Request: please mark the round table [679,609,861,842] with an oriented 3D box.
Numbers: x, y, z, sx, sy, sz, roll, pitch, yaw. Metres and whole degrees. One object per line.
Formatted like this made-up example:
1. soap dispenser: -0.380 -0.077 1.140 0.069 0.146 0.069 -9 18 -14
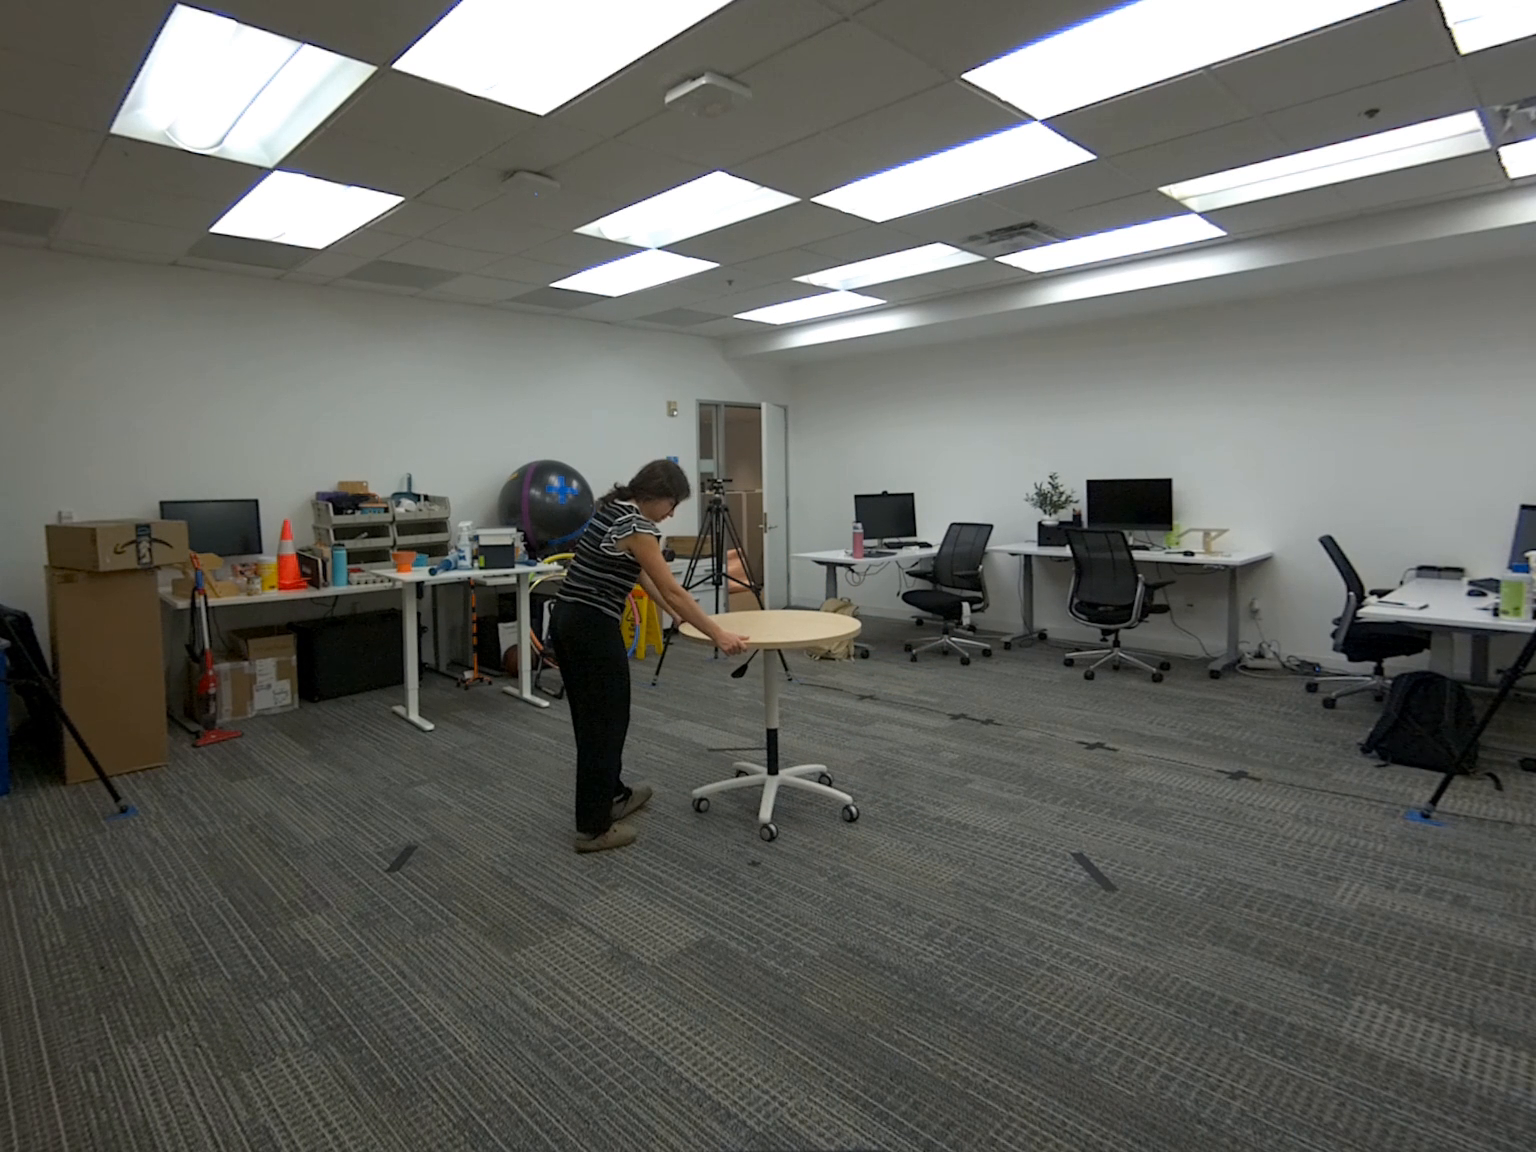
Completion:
1. round table: 0.021 0.596 3.624 0.763 0.791 0.768 -2 5 -2
